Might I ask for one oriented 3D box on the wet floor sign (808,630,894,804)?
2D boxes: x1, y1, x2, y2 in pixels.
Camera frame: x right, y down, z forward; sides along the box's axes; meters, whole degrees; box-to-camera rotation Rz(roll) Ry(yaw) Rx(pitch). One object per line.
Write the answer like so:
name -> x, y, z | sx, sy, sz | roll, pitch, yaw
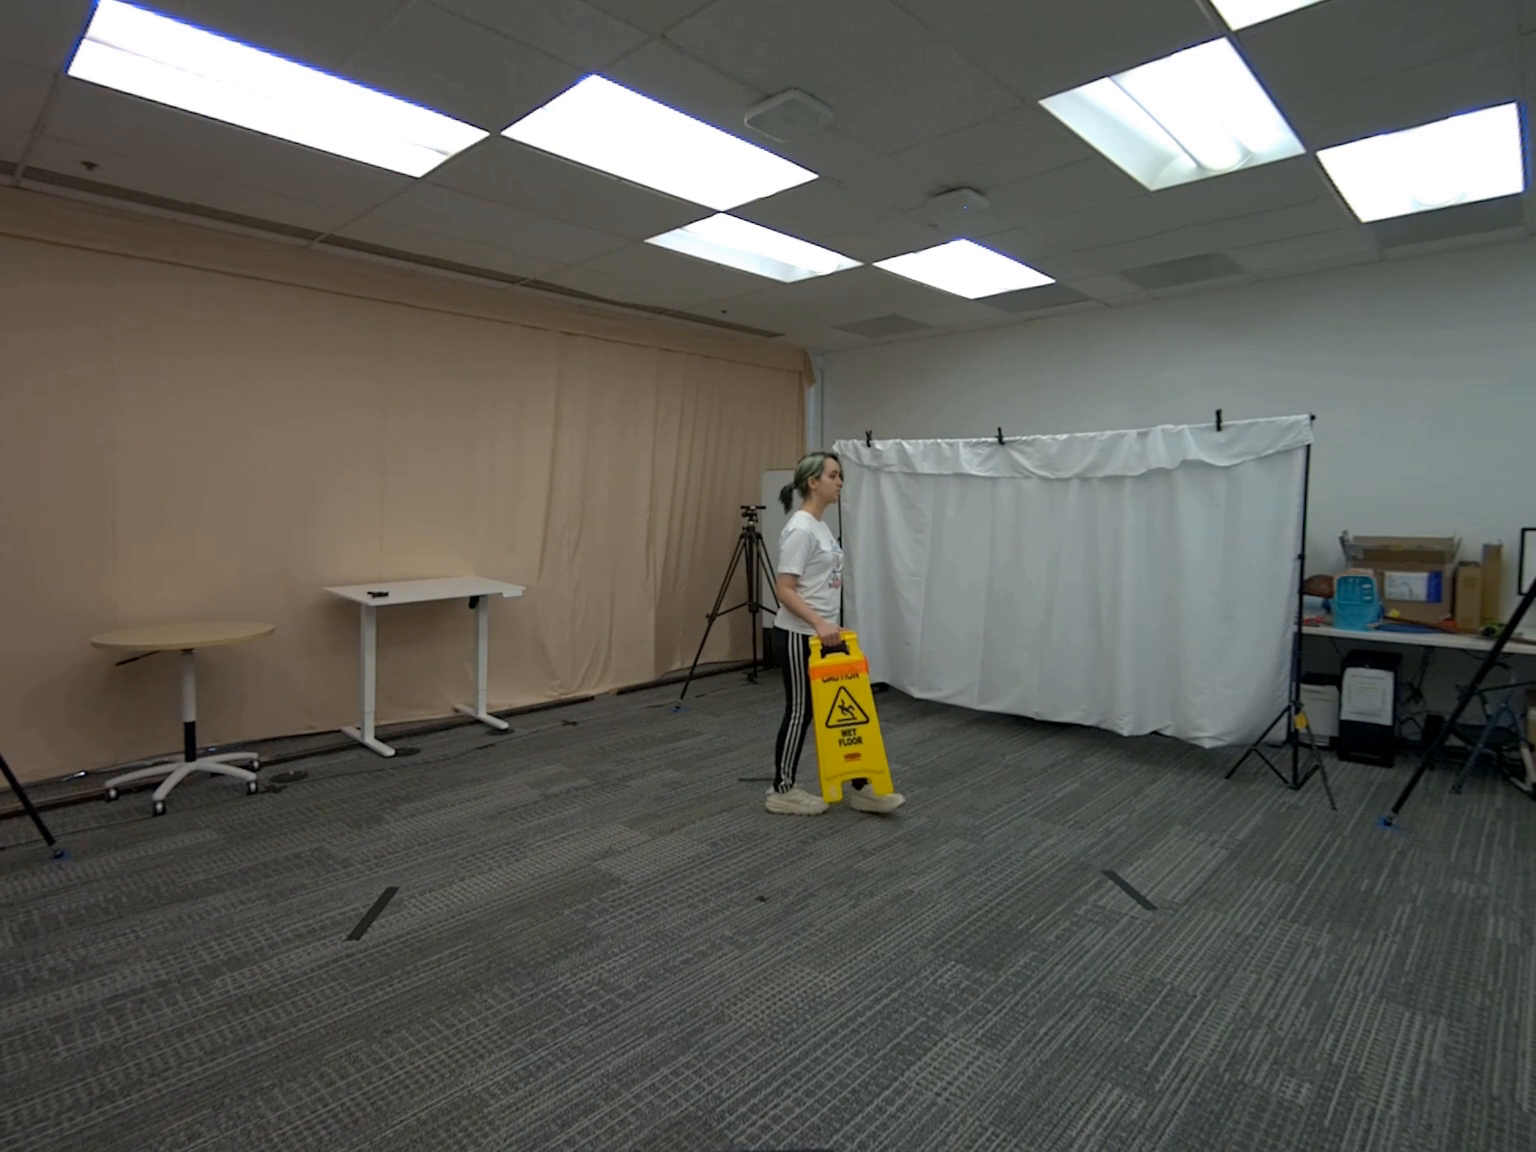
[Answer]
wet floor sign -> 0.313, 0.563, 3.482 | 0.283, 0.647, 0.289 | -9, -1, 1
